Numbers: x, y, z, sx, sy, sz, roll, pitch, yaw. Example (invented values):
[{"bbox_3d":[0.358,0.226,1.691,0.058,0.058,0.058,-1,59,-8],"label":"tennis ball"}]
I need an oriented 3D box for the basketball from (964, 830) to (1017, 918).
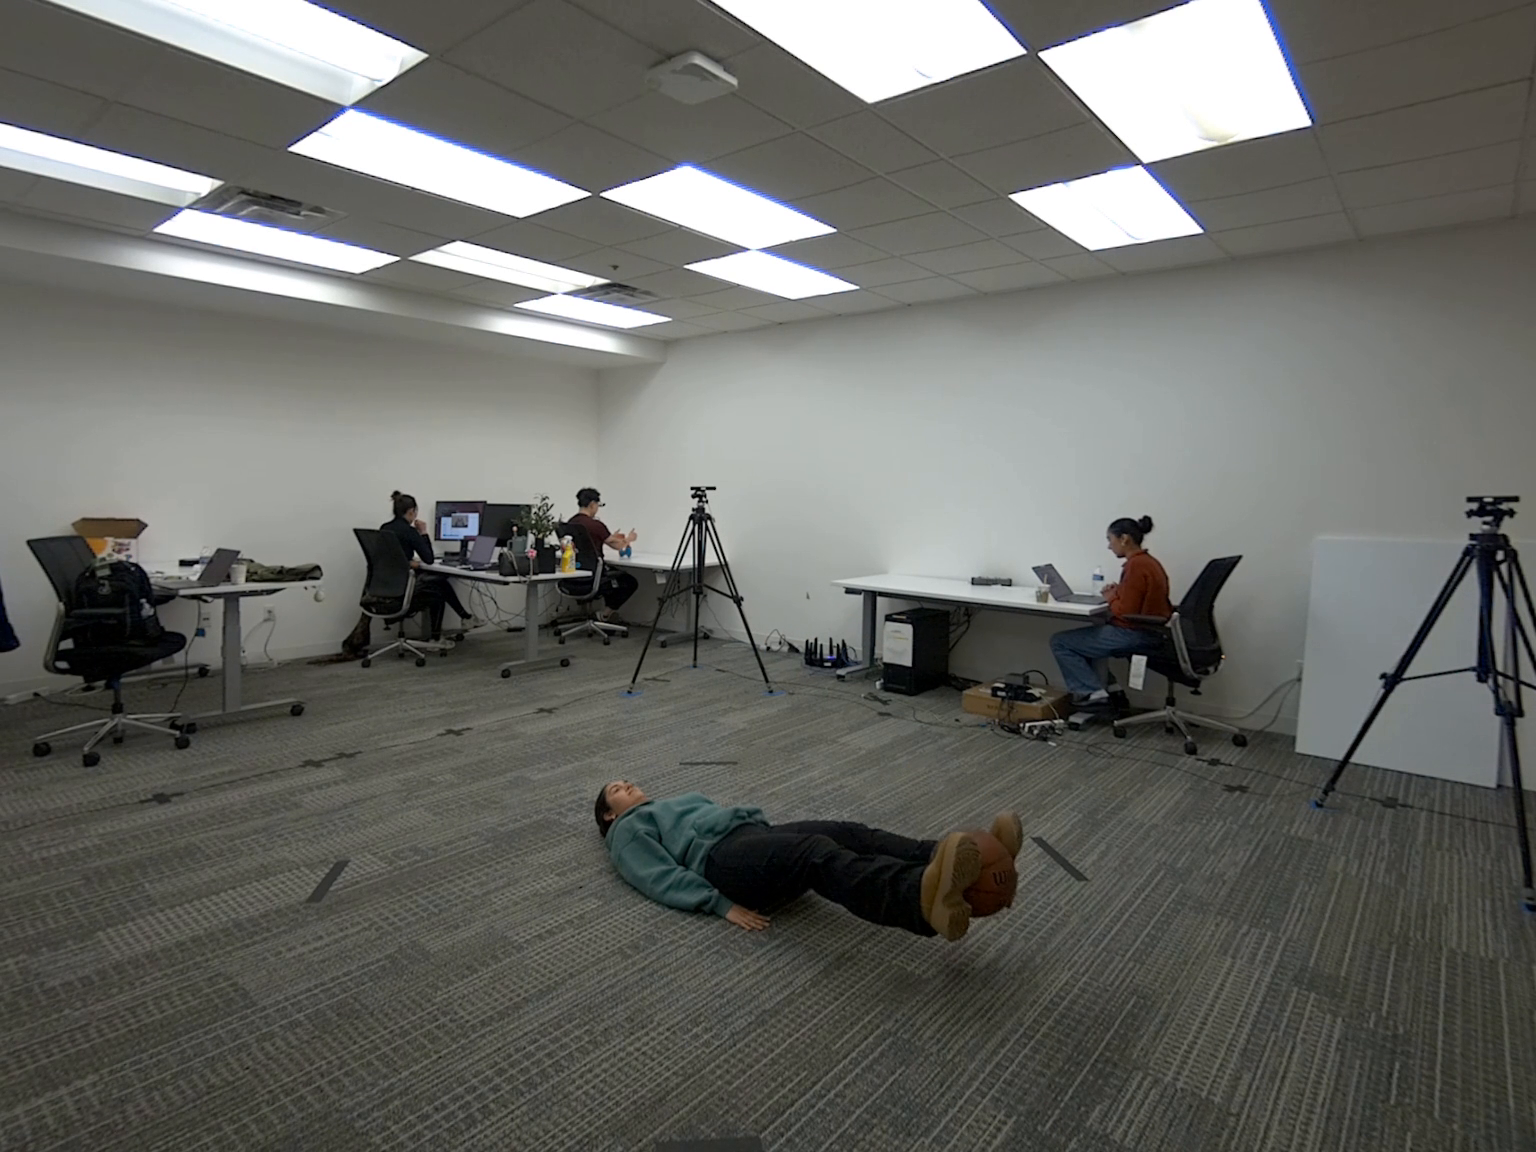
[{"bbox_3d":[0.578,0.838,2.408,0.236,0.235,0.237,0,4,-2],"label":"basketball"}]
